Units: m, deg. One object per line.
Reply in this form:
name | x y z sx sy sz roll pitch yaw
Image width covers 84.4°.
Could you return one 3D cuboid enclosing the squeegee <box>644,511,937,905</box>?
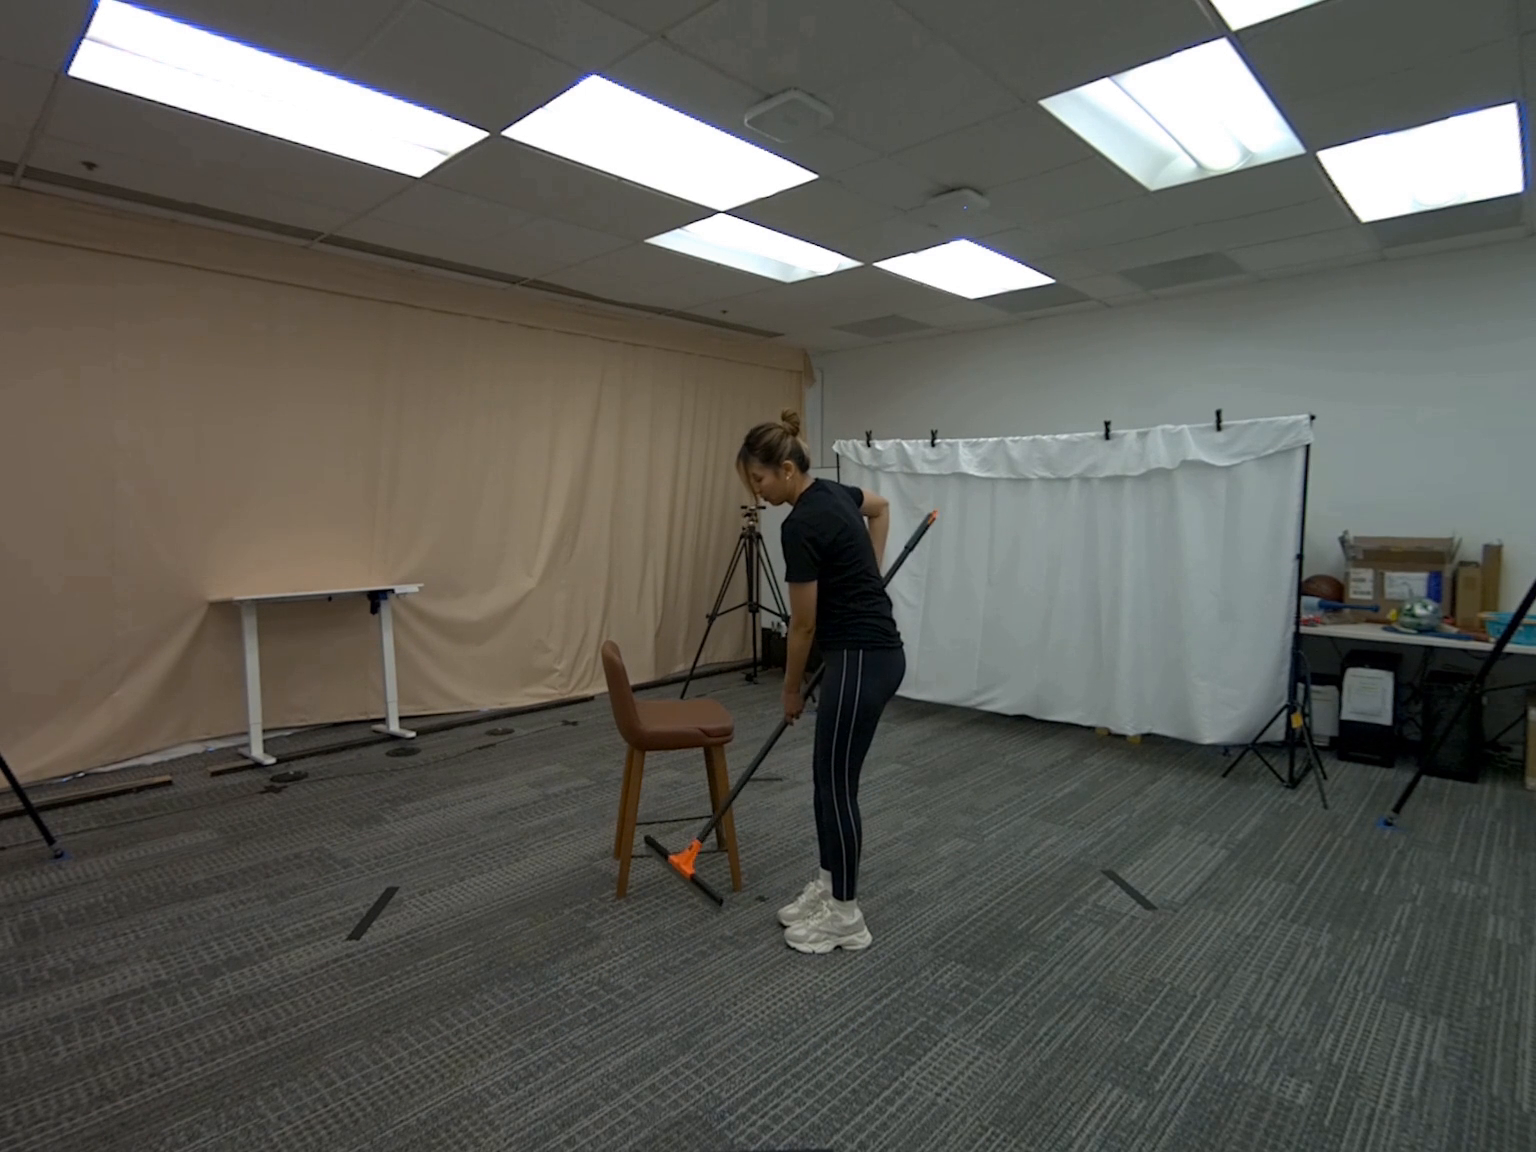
squeegee | 0.152 0.335 2.823 0.452 1.534 0.051 14 -27 53
